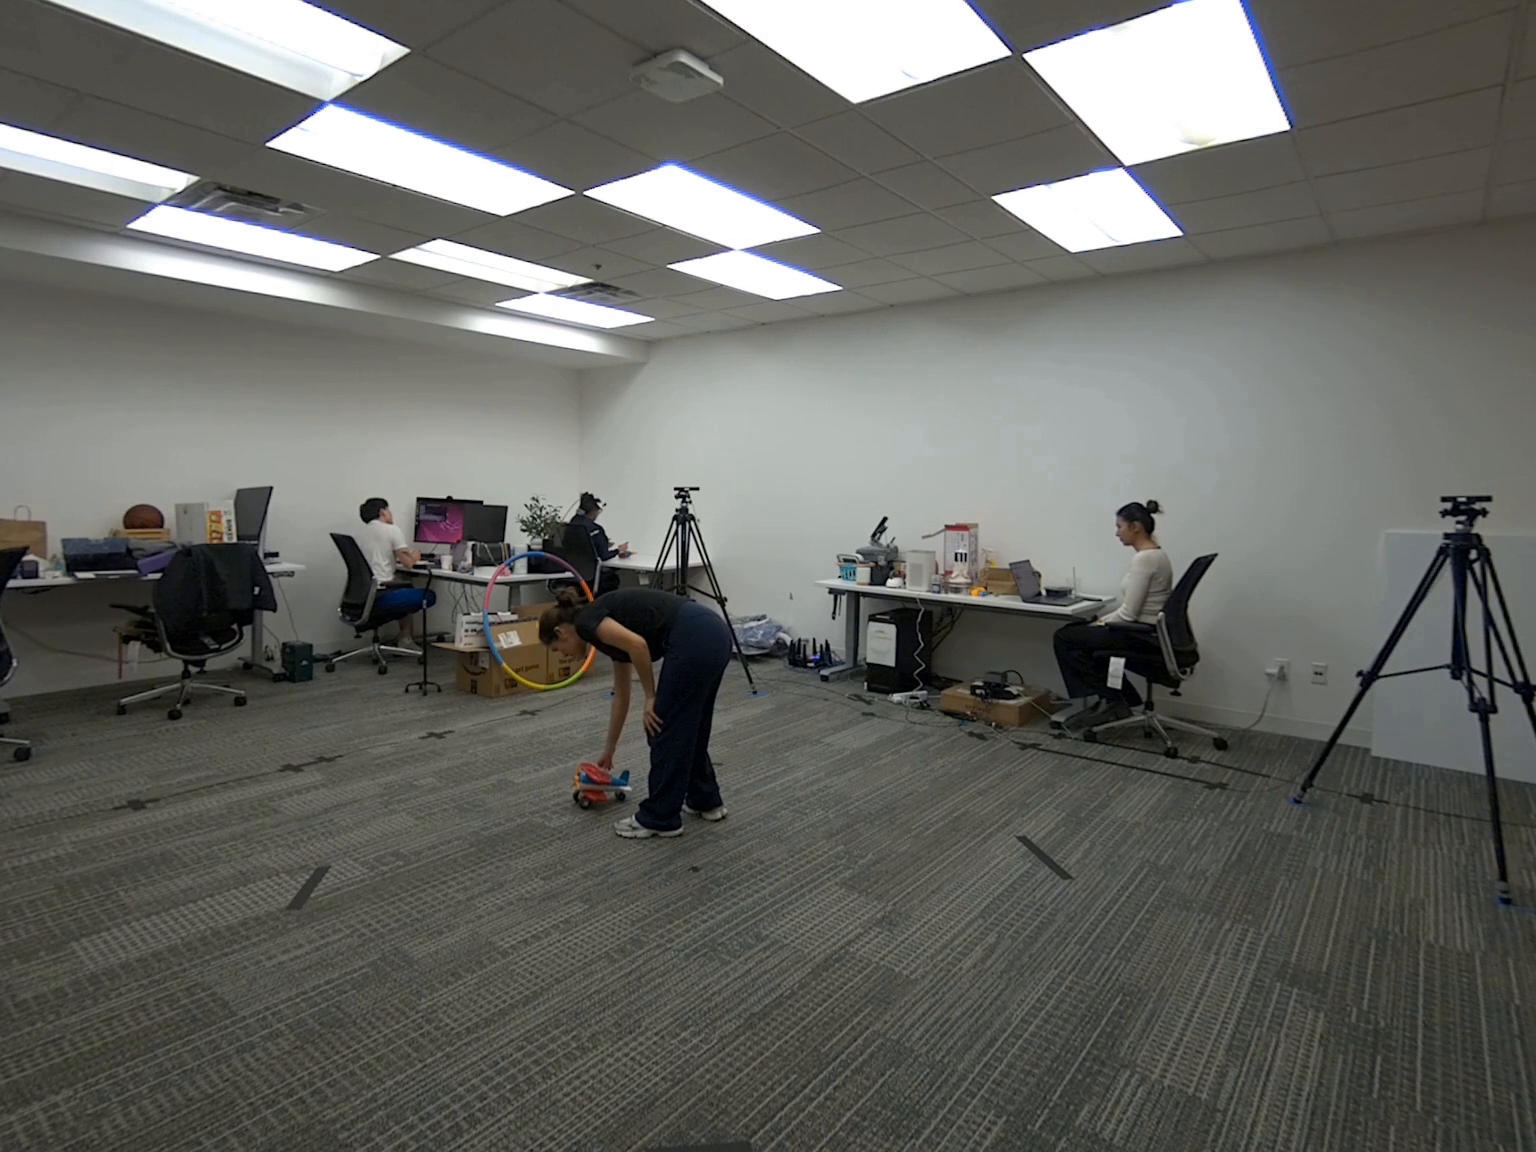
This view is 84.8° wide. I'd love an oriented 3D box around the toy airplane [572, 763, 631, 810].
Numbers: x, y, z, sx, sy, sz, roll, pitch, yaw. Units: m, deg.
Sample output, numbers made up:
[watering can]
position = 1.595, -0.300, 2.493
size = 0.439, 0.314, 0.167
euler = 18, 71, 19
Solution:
[toy airplane]
position = -0.729, 0.919, 3.782
size = 0.259, 0.156, 0.252
euler = 5, 6, 34
